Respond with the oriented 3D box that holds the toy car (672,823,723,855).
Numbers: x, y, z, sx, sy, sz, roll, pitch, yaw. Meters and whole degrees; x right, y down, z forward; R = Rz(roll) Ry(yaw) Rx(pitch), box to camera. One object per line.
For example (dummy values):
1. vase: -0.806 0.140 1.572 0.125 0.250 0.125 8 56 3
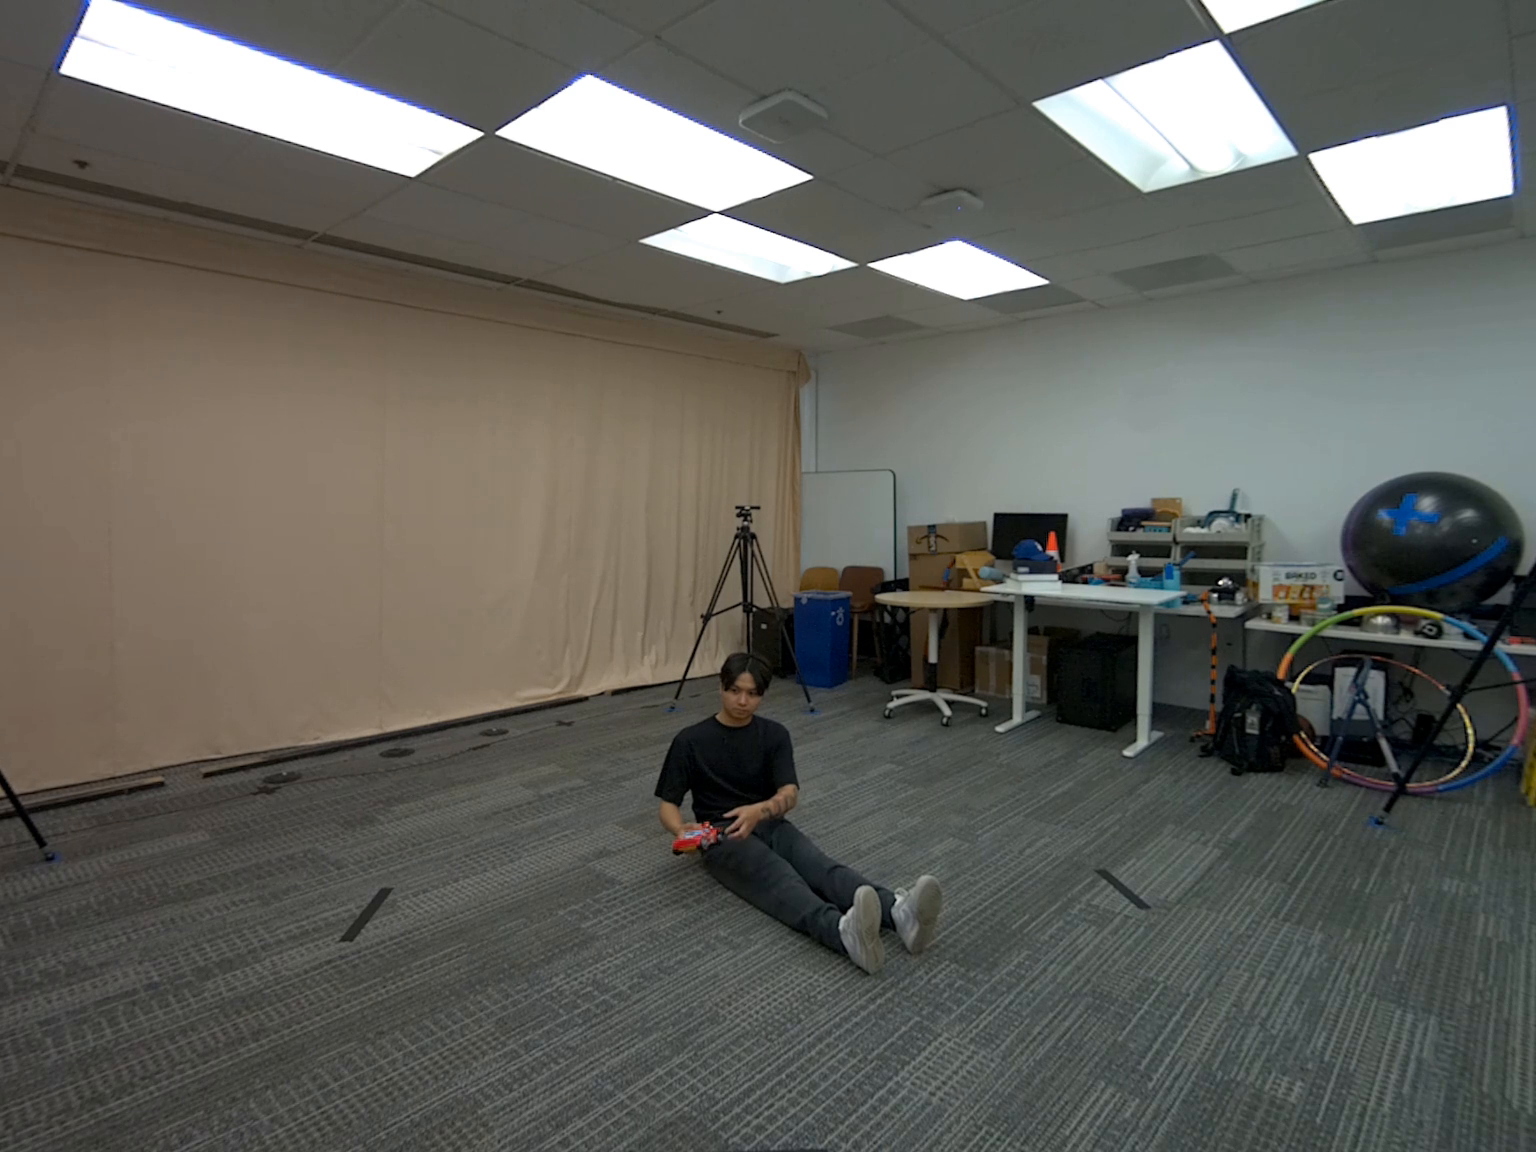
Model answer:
1. toy car: -0.235 0.909 2.921 0.132 0.083 0.250 -15 -4 15
